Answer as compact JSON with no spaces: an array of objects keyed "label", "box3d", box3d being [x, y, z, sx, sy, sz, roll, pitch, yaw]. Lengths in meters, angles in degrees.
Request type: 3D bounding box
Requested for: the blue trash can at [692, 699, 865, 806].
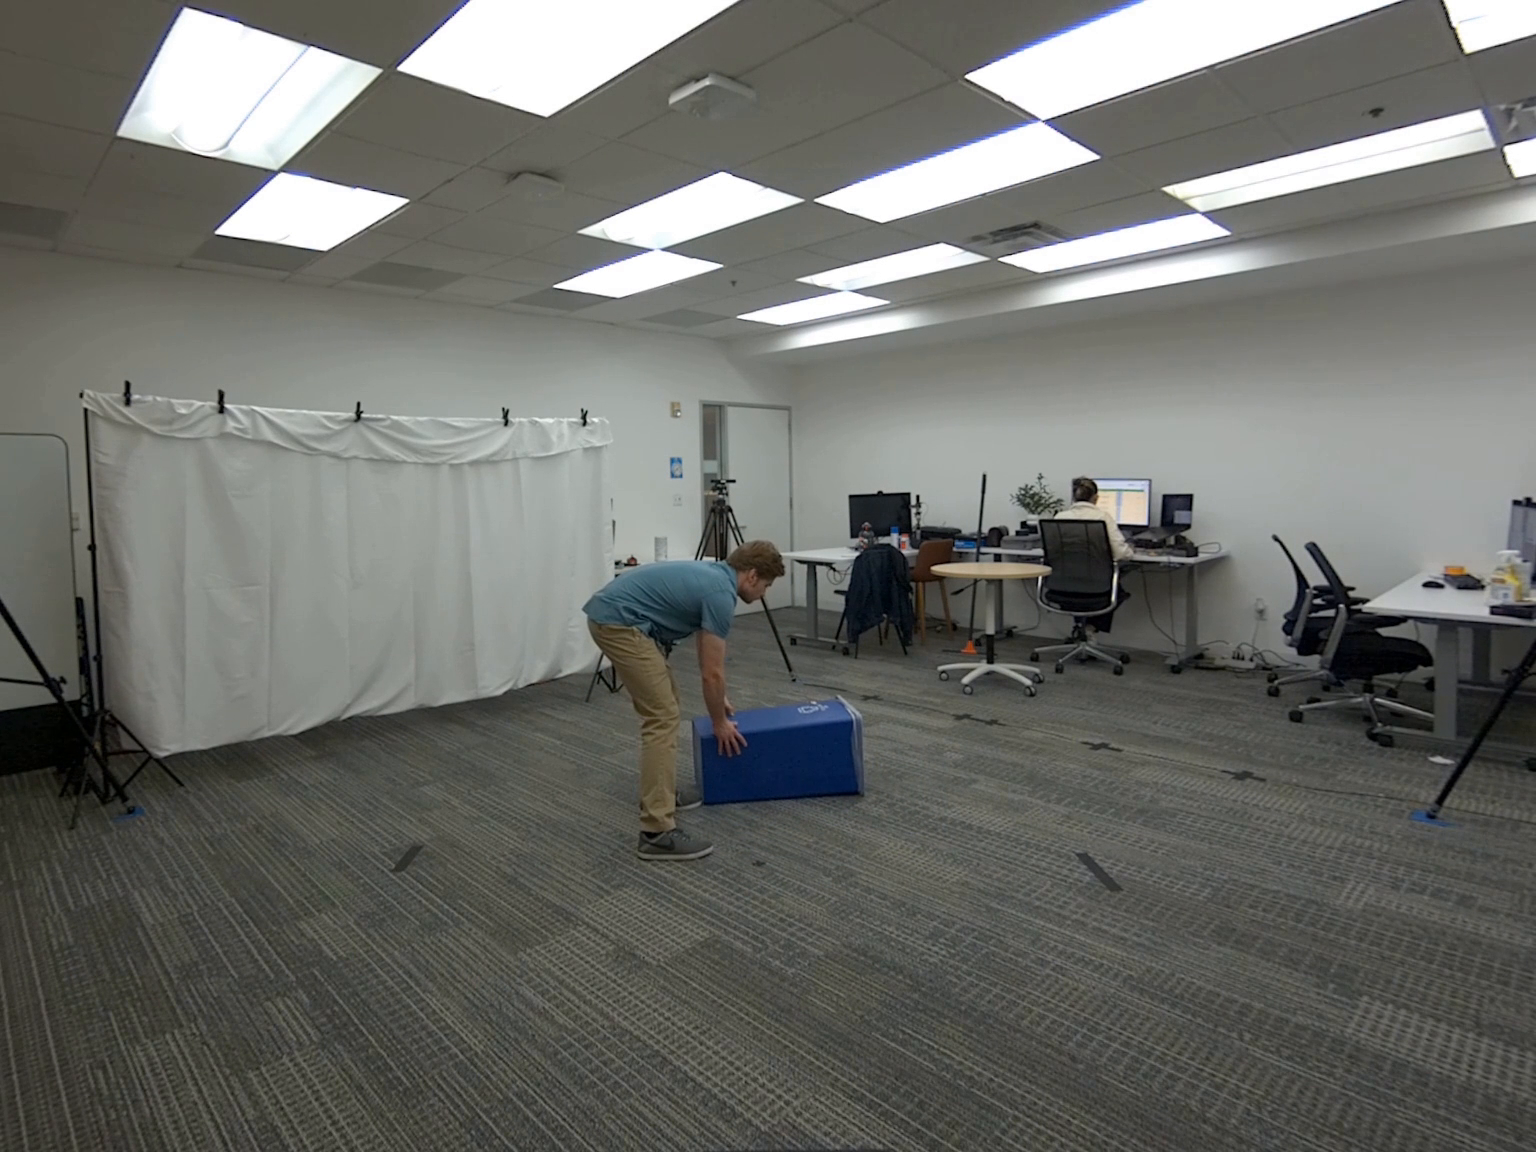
[{"label":"blue trash can","box3d":[0.041,0.797,3.857,0.708,0.376,0.379,-5,6,-9]}]
